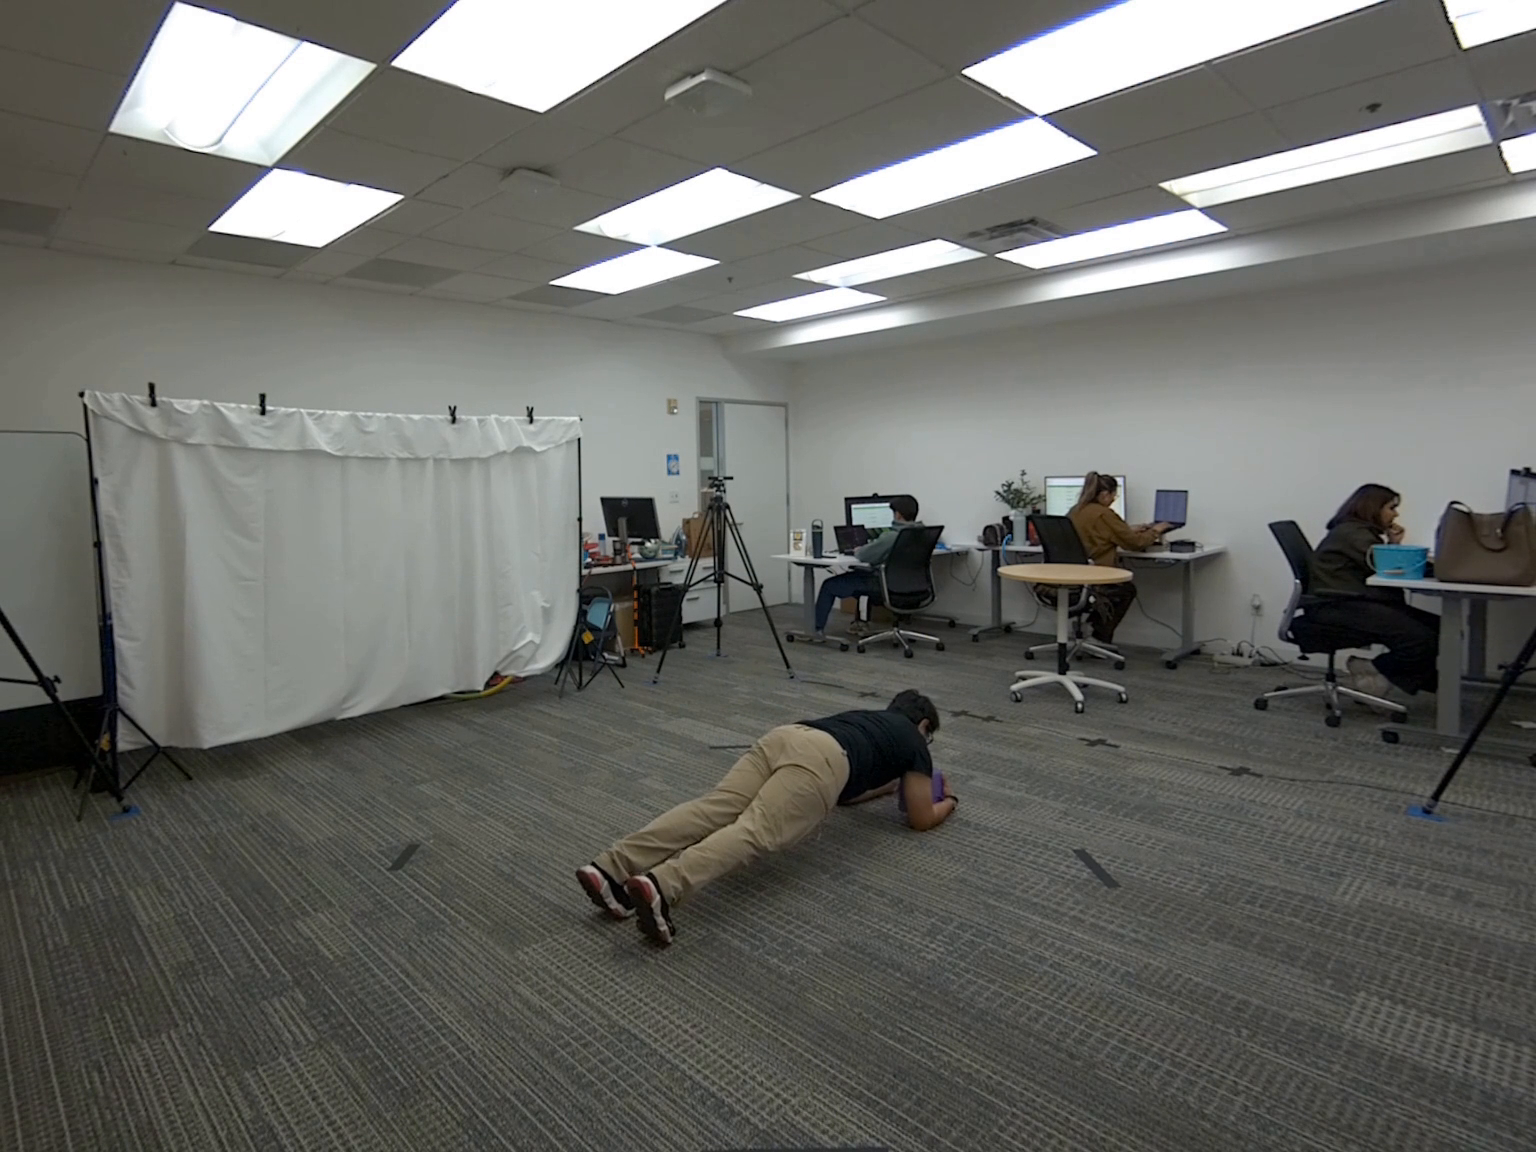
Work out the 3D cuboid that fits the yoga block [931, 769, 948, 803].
[{"bbox_3d":[0.643,0.887,3.502,0.223,0.149,0.079,0,3,-44],"label":"yoga block"}]
